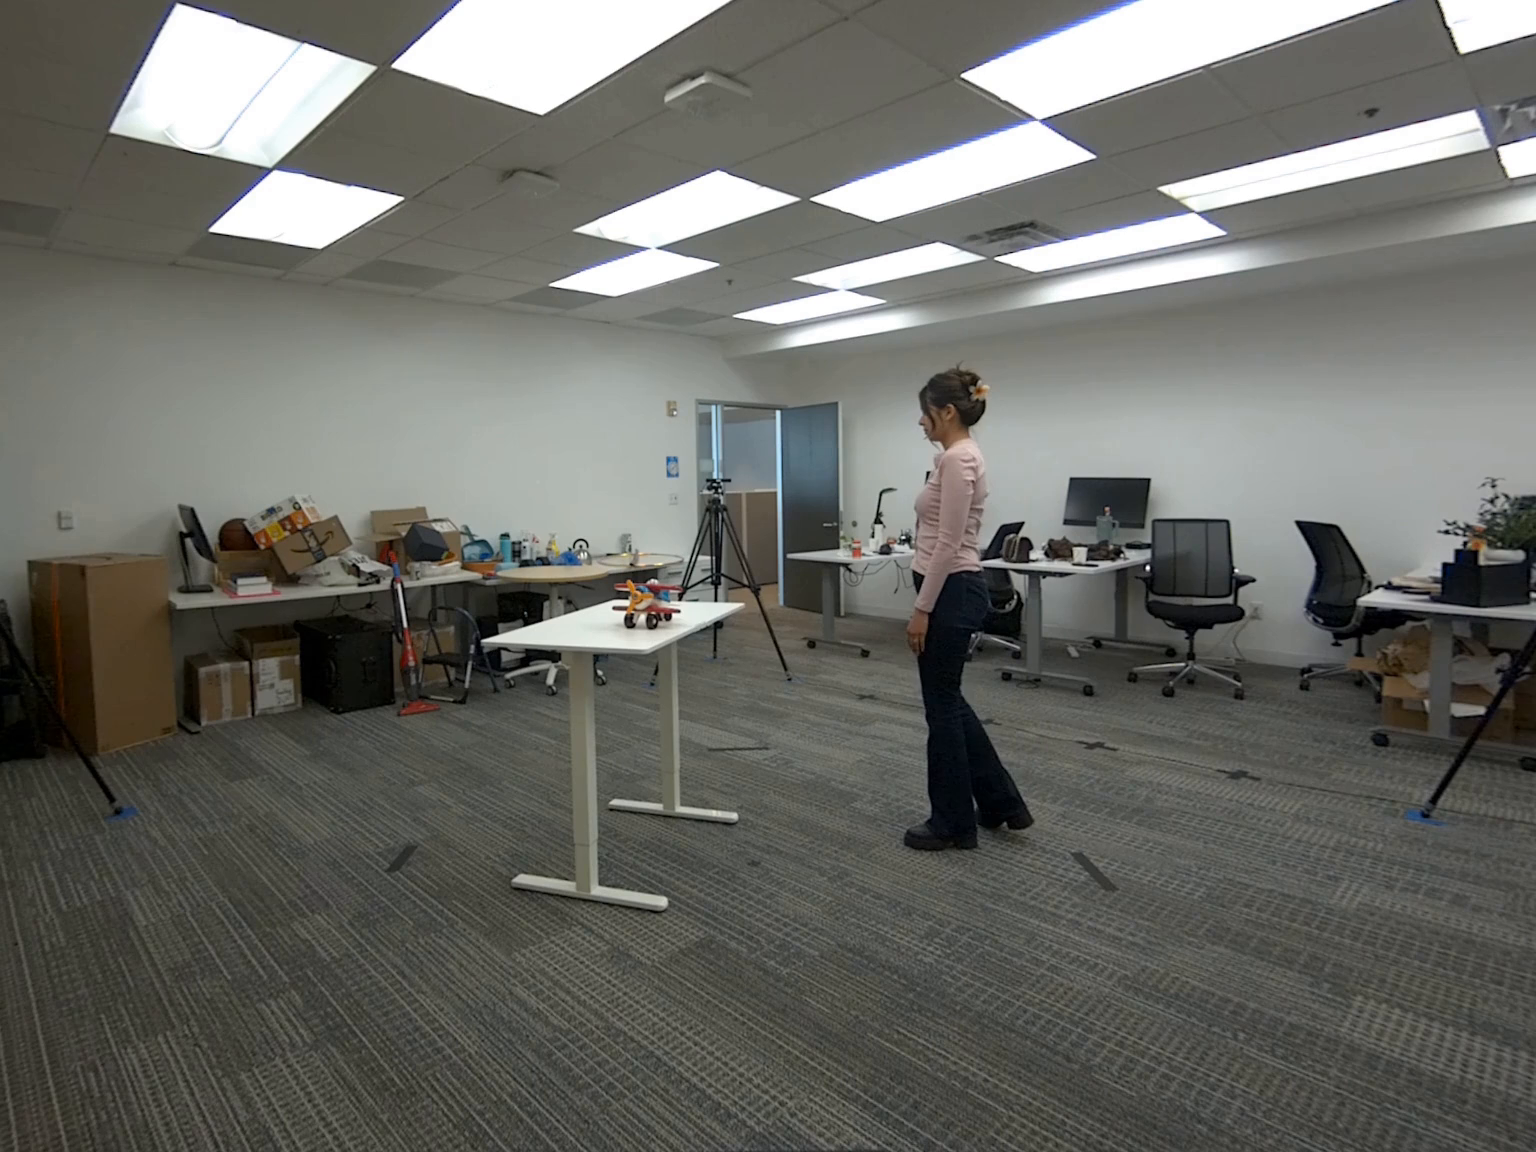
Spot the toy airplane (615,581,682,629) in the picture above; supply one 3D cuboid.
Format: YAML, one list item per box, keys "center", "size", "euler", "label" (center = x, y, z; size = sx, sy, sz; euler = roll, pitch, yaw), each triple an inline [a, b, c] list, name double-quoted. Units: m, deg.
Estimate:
- center: [-0.433, 0.097, 3.065]
  size: [0.249, 0.156, 0.263]
  euler: [-2, 6, -10]
  label: "toy airplane"
